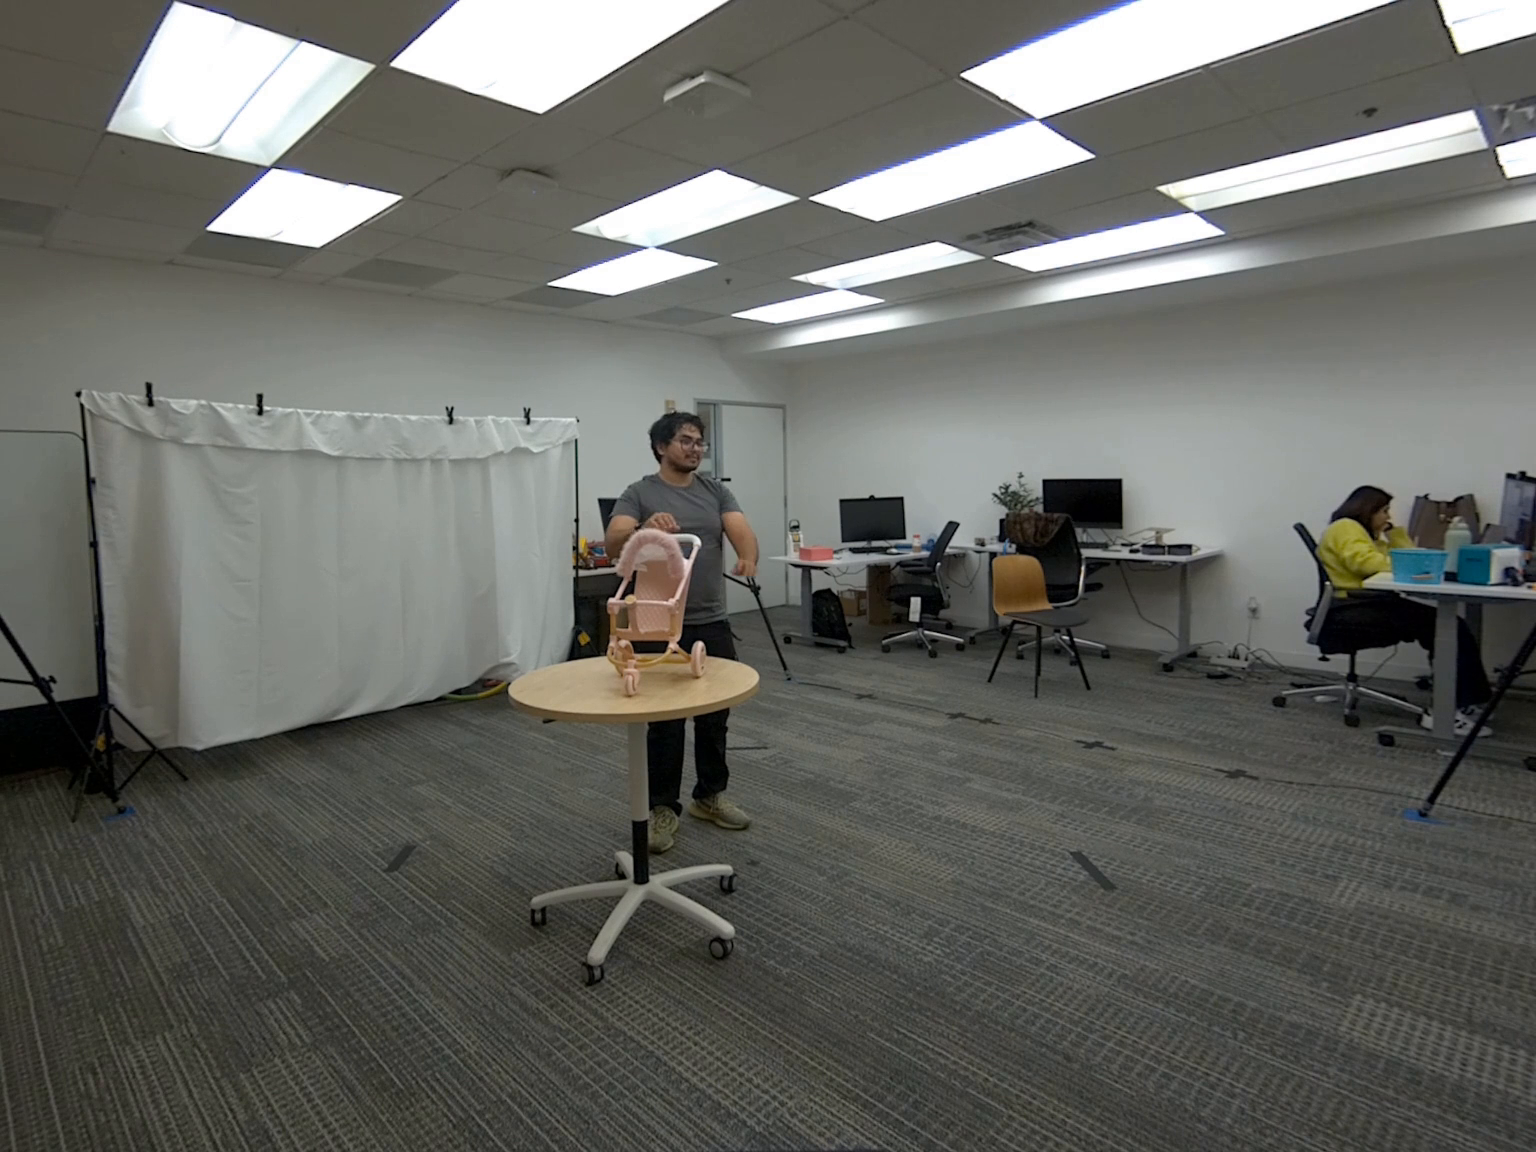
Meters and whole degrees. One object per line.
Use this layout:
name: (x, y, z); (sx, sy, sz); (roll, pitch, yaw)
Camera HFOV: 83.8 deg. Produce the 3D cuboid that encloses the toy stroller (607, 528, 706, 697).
toy stroller: (-0.362, 0.102, 2.606); (0.286, 0.540, 0.332); (0, -11, 17)
